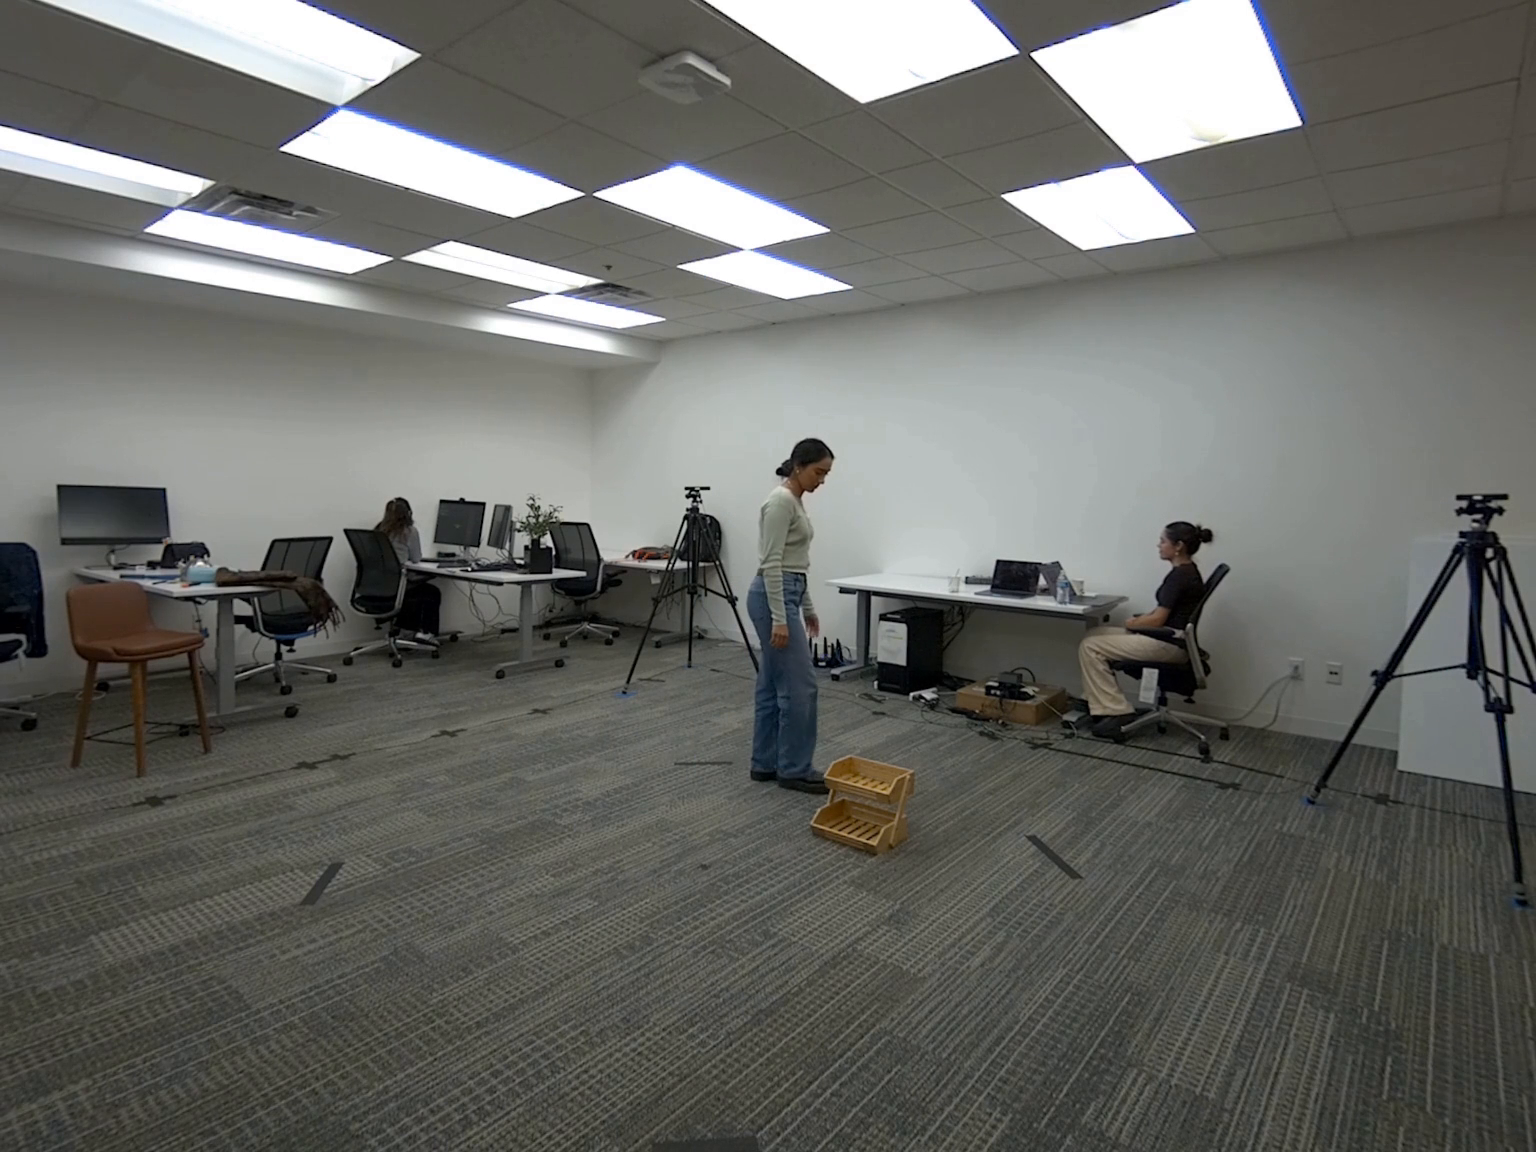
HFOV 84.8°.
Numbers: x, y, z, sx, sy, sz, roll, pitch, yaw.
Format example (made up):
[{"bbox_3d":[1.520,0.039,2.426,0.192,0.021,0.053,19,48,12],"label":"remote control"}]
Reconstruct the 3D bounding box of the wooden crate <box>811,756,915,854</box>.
[{"bbox_3d":[0.372,0.906,3.432,0.335,0.272,0.293,4,5,37],"label":"wooden crate"}]
